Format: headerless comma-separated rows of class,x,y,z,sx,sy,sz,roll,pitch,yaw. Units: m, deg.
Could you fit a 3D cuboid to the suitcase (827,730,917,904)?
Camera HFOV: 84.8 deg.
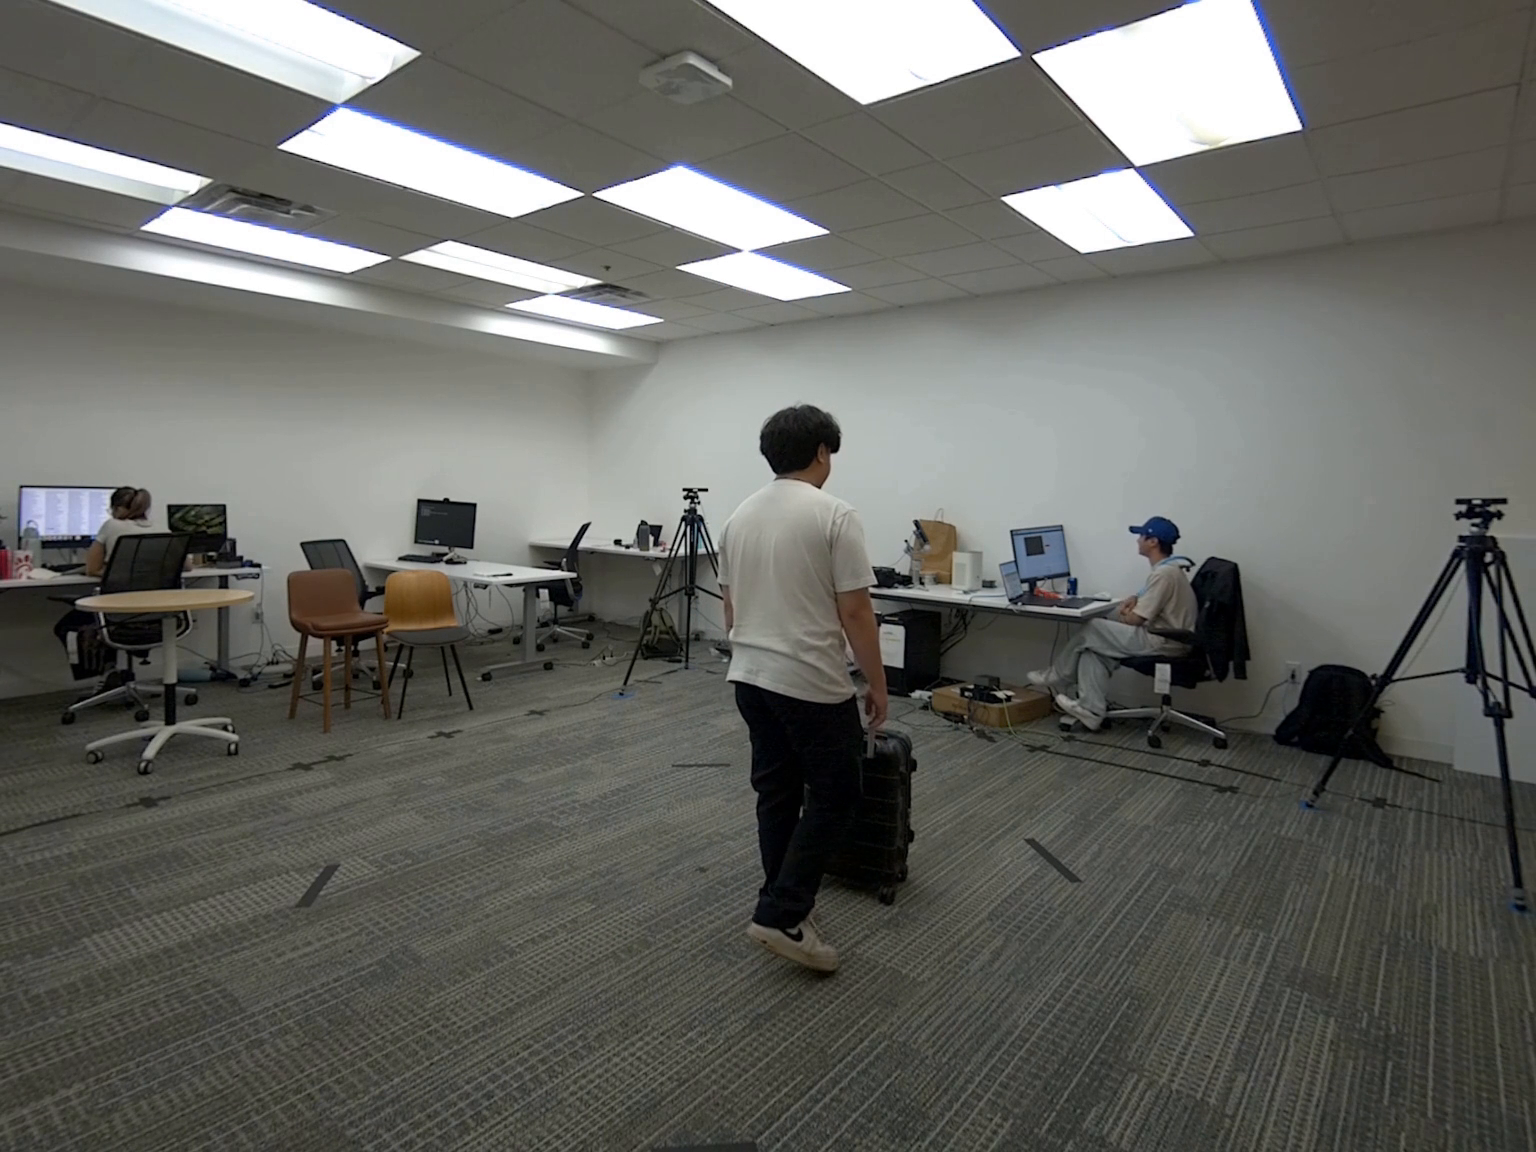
suitcase,0.326,0.611,3.046,0.393,0.978,0.251,3,1,23
